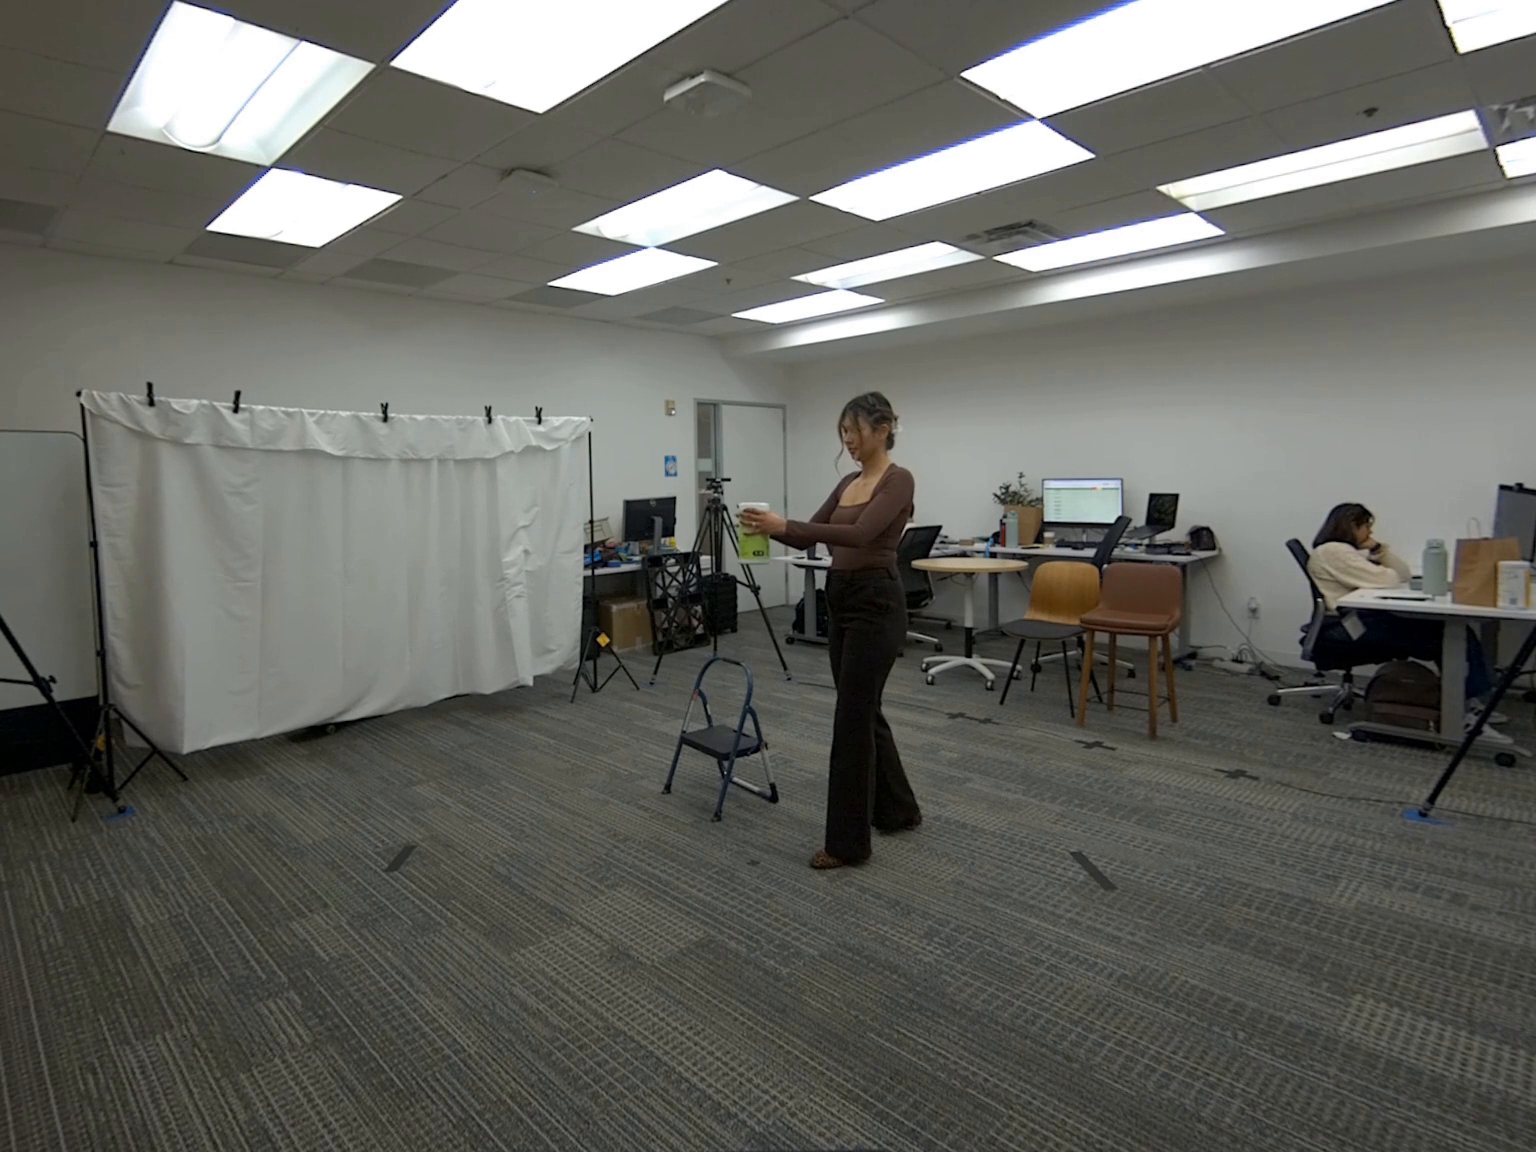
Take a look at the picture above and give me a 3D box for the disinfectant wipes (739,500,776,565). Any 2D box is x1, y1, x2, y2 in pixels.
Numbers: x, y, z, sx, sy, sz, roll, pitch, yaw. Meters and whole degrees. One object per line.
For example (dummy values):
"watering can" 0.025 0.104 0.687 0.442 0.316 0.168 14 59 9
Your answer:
"disinfectant wipes" -0.040 -0.152 3.012 0.118 0.218 0.117 0 -3 -2
